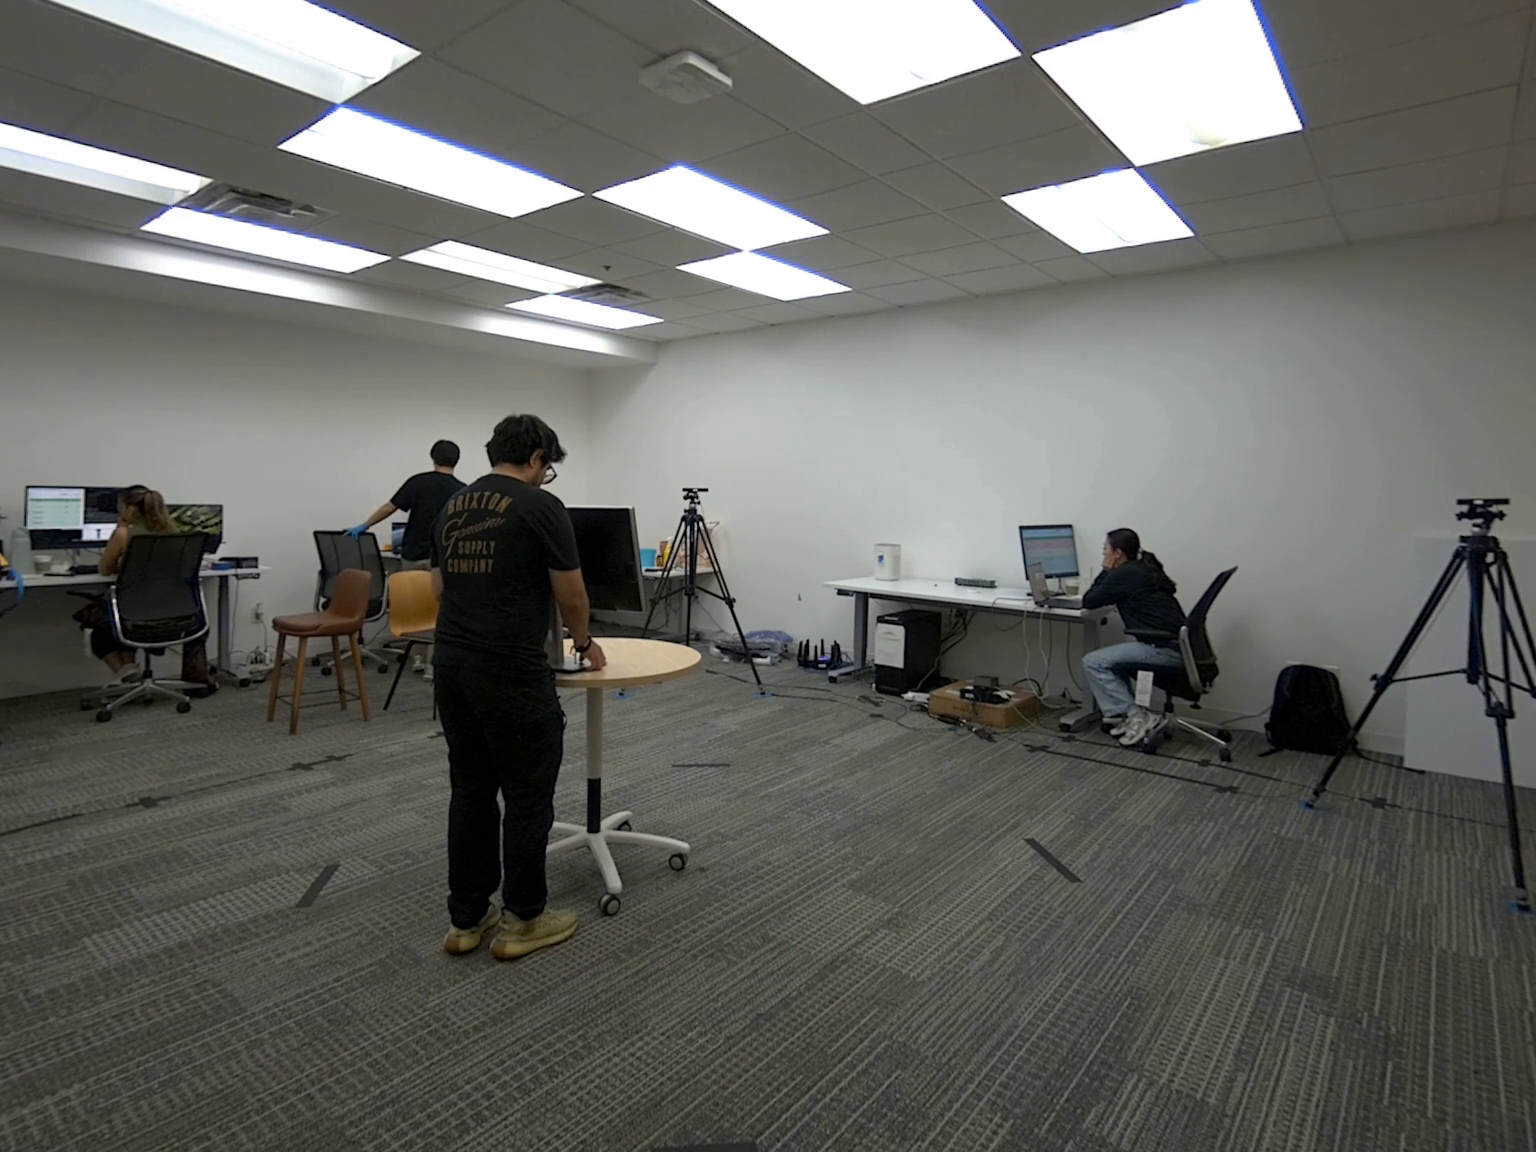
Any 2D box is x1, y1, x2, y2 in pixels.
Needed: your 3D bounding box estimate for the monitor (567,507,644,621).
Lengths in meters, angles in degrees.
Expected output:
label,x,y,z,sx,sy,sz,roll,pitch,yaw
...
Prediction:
label,x,y,z,sx,sy,sz,roll,pitch,yaw
monitor,-0.713,0.038,2.857,0.580,0.549,0.206,3,9,25
